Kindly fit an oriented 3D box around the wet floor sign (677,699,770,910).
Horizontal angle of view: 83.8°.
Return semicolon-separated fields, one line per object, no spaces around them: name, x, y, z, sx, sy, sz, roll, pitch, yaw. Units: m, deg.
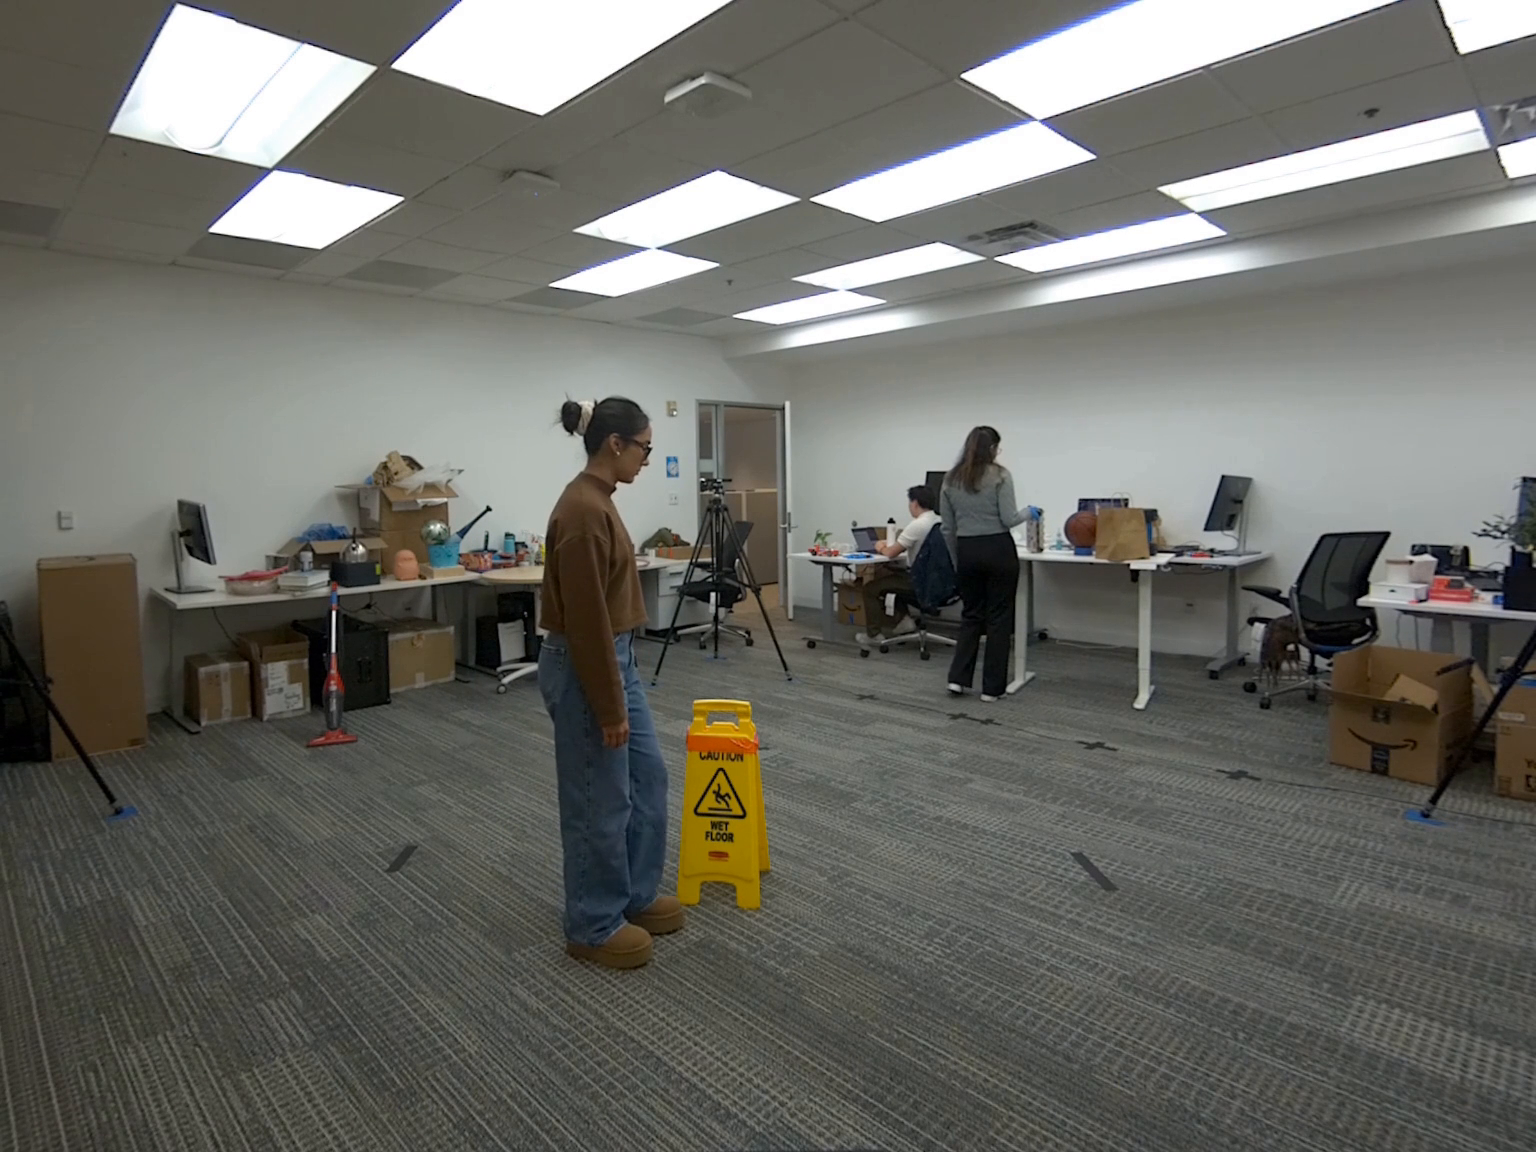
wet floor sign;-0.143;0.748;2.910;0.285;0.643;0.288;0;5;9
